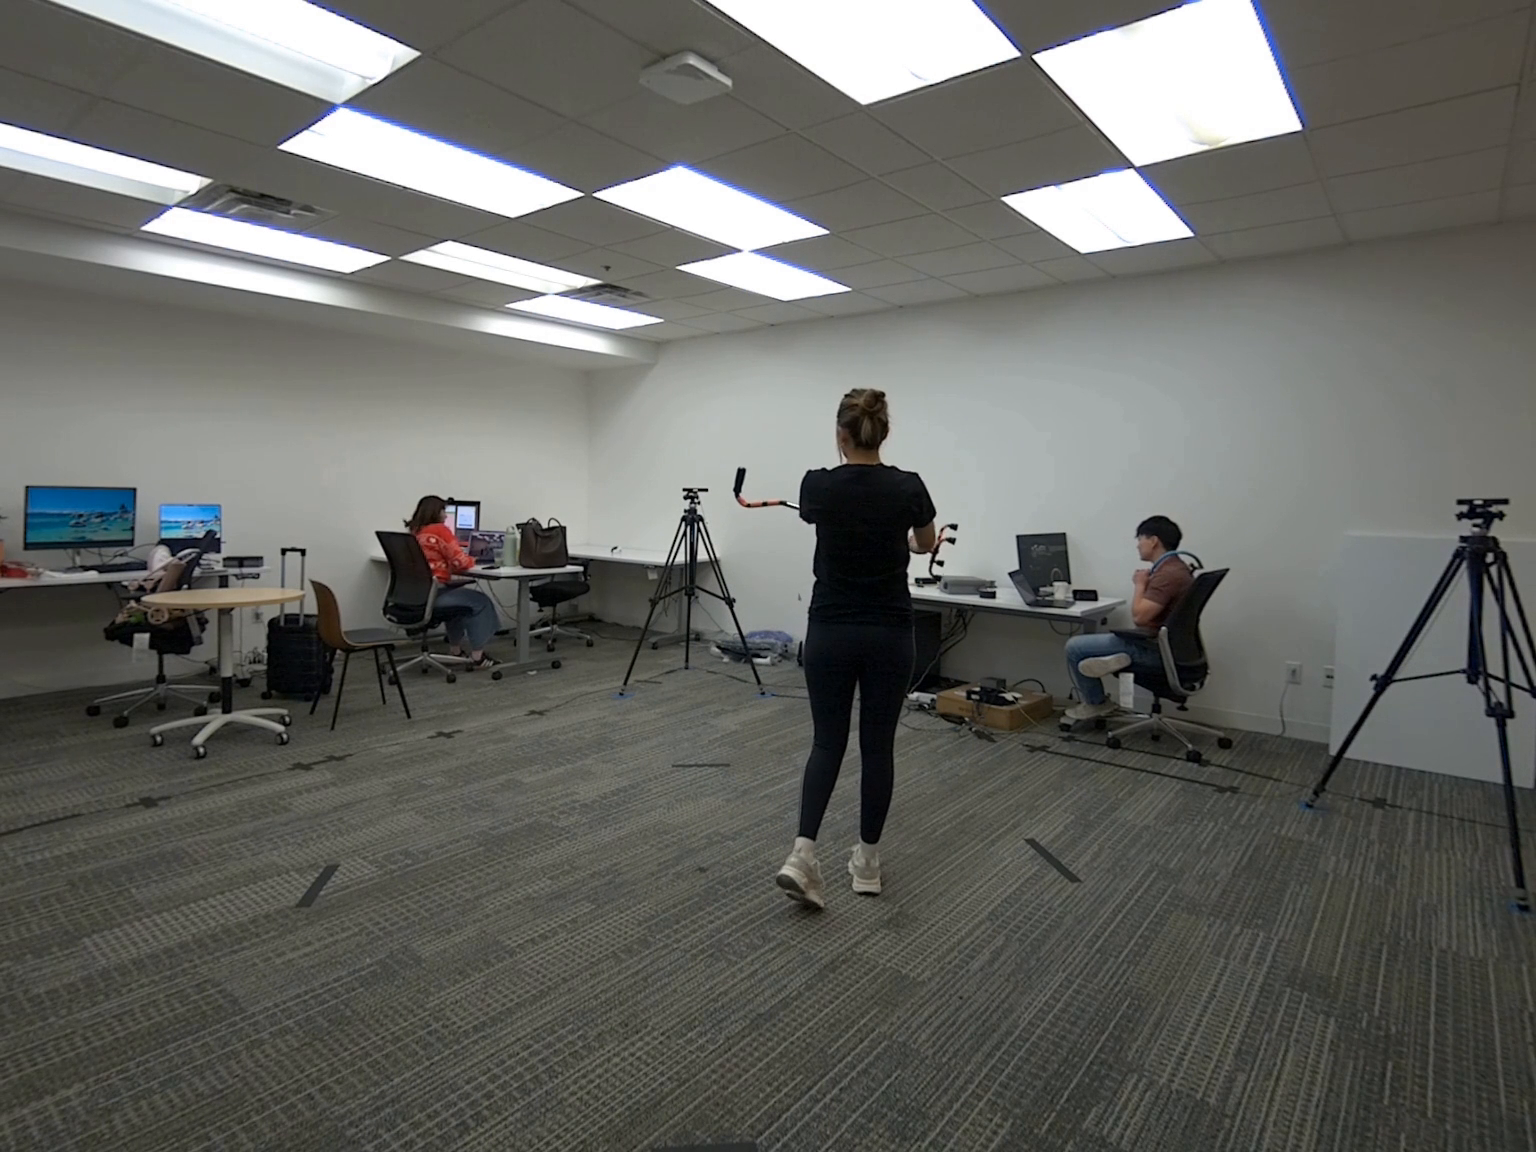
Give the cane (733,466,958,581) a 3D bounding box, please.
[{"bbox_3d":[0.274,-0.232,3.473,0.919,0.203,0.152,18,27,9],"label":"cane"}]
